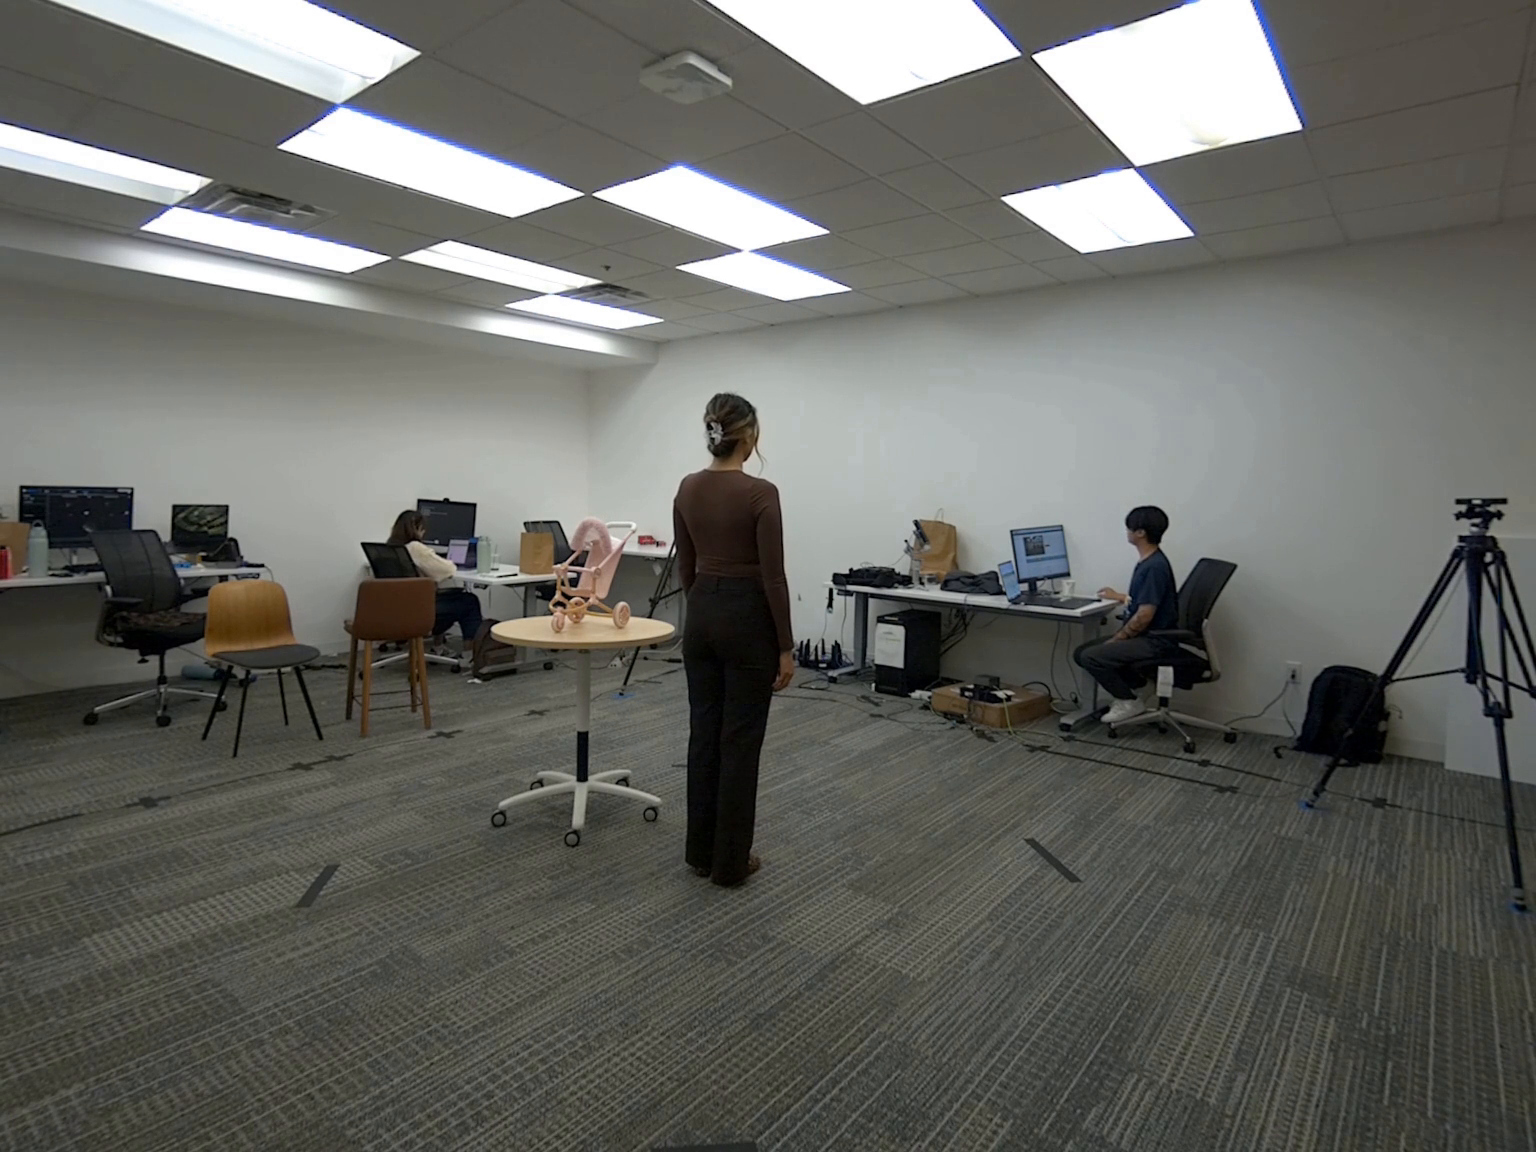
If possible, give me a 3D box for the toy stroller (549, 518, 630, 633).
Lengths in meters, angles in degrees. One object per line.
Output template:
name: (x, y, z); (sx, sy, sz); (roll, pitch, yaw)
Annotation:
toy stroller: (-0.778, -0.011, 3.610); (0.290, 0.539, 0.328); (3, -10, 34)
